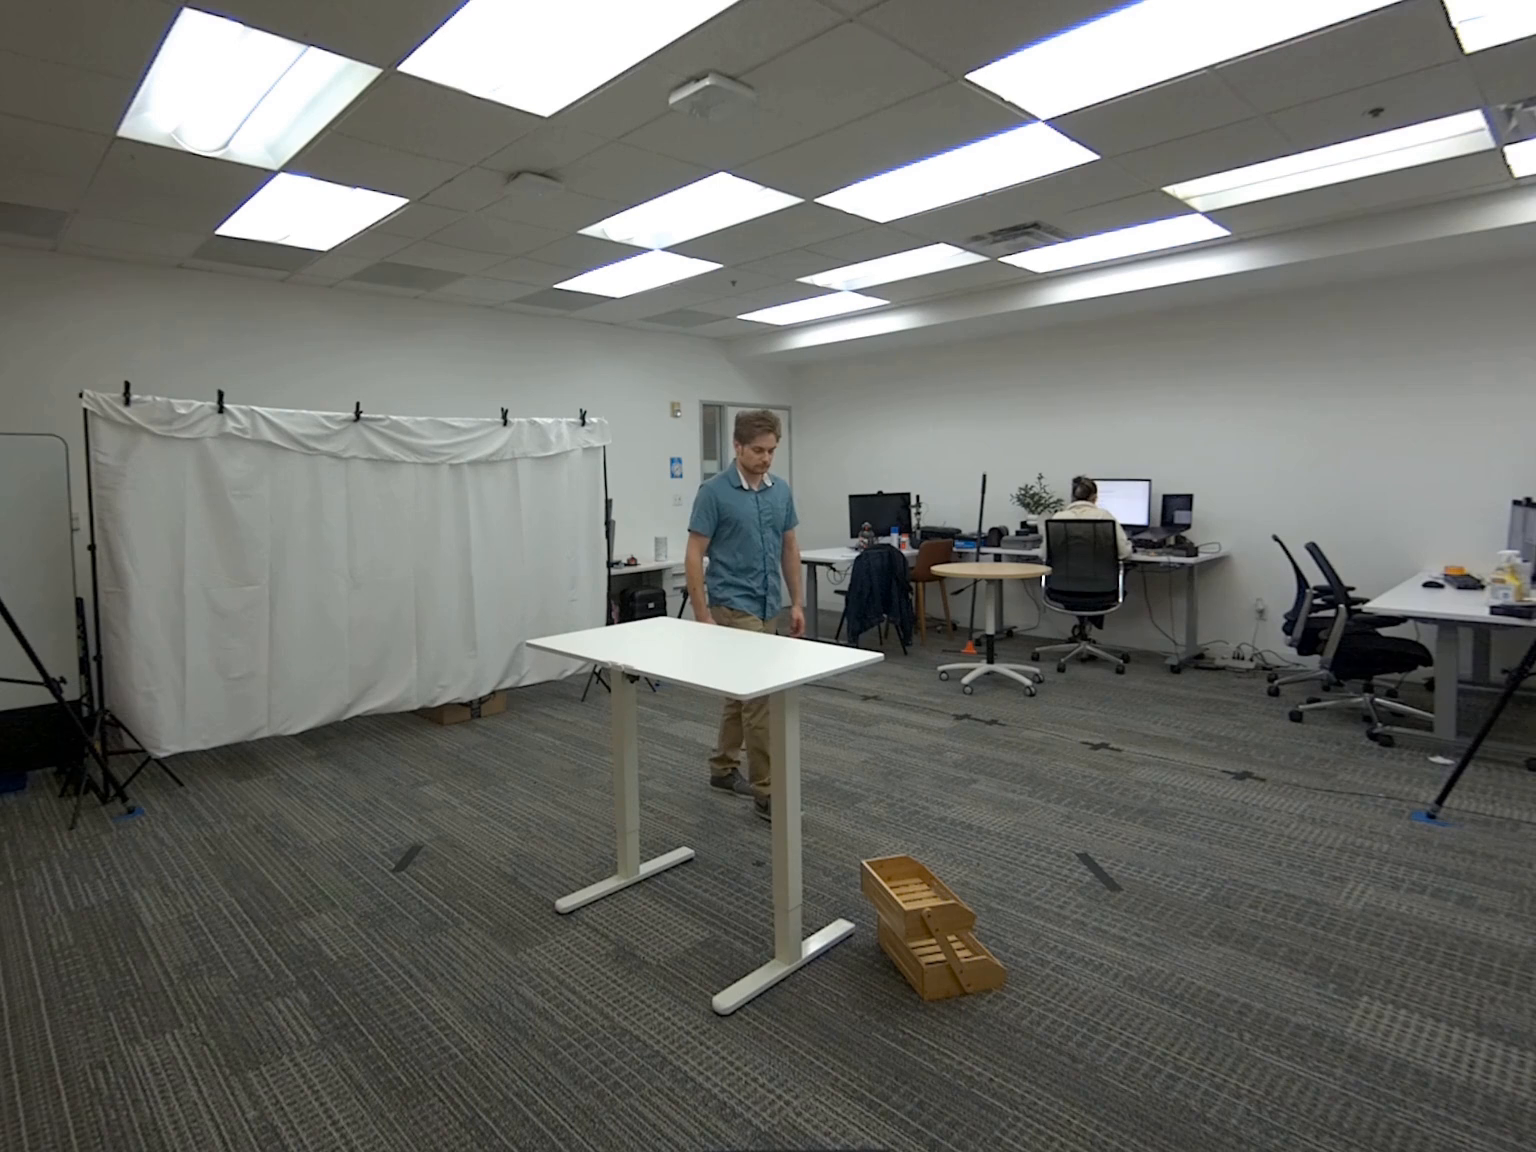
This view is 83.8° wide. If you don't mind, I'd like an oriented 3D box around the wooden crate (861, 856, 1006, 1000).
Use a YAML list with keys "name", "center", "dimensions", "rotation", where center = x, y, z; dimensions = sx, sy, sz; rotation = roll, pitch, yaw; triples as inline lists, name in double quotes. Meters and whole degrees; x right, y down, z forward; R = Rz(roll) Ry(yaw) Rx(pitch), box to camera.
- name: "wooden crate"
  center: [0.474, 0.981, 2.435]
  dimensions: [0.298, 0.272, 0.331]
  rotation: [-4, 6, -16]
